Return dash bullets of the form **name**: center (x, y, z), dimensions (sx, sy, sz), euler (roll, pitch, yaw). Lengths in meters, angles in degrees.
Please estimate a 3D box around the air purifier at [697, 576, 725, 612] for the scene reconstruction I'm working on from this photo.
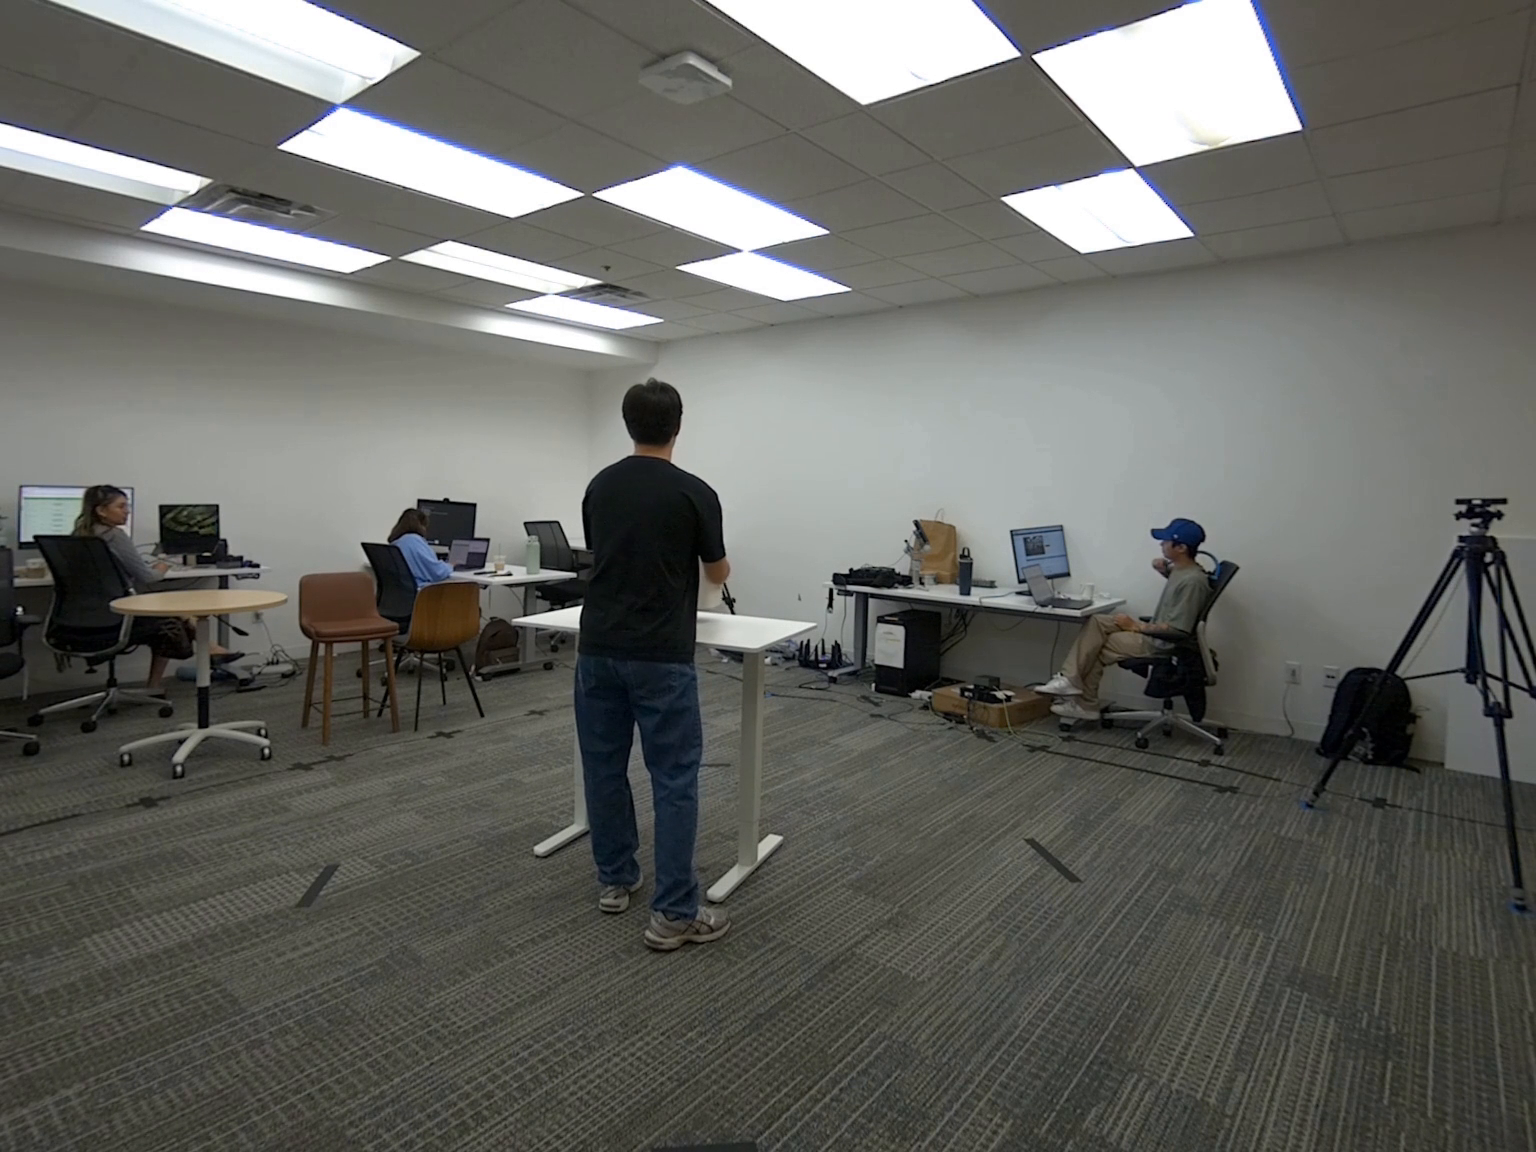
- **air purifier**: center (-0.275, -0.018, 3.269), dimensions (0.175, 0.264, 0.168), euler (4, 8, 23)
